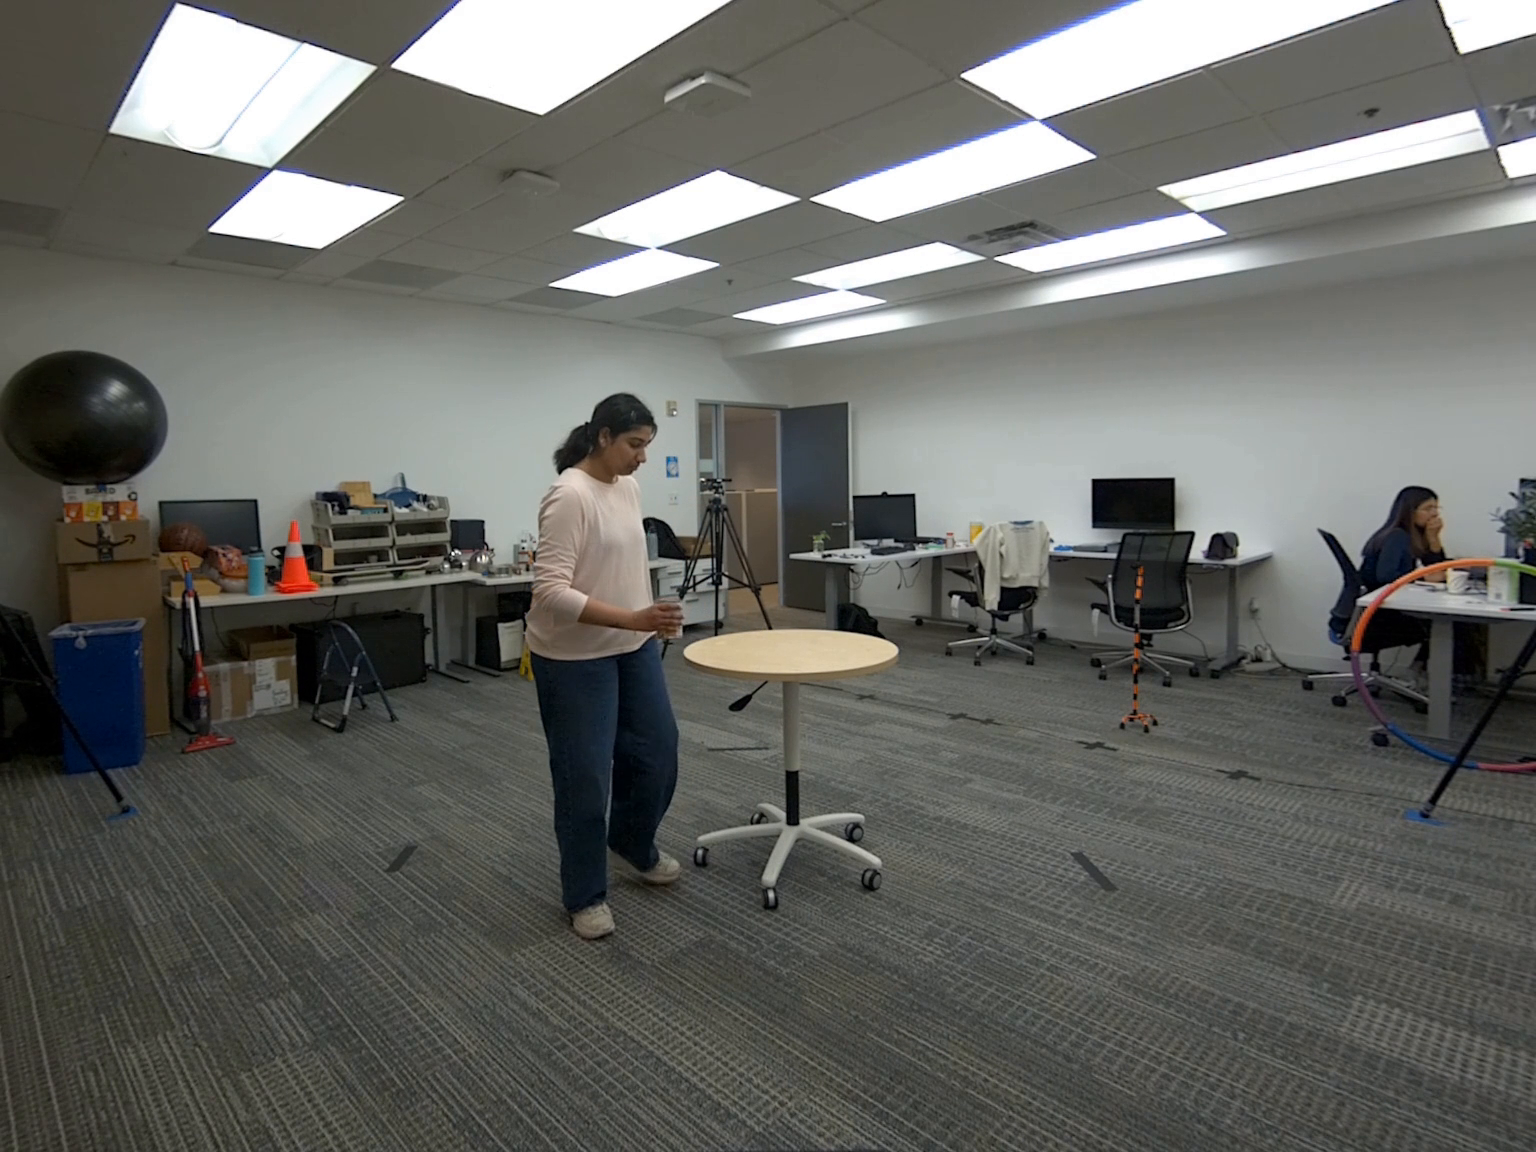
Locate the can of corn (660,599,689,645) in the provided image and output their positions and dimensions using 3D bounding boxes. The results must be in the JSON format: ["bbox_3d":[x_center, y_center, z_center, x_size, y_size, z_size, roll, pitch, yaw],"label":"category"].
[{"bbox_3d":[-0.280,0.133,2.520,0.074,0.110,0.075,-6,8,-1],"label":"can of corn"}]
